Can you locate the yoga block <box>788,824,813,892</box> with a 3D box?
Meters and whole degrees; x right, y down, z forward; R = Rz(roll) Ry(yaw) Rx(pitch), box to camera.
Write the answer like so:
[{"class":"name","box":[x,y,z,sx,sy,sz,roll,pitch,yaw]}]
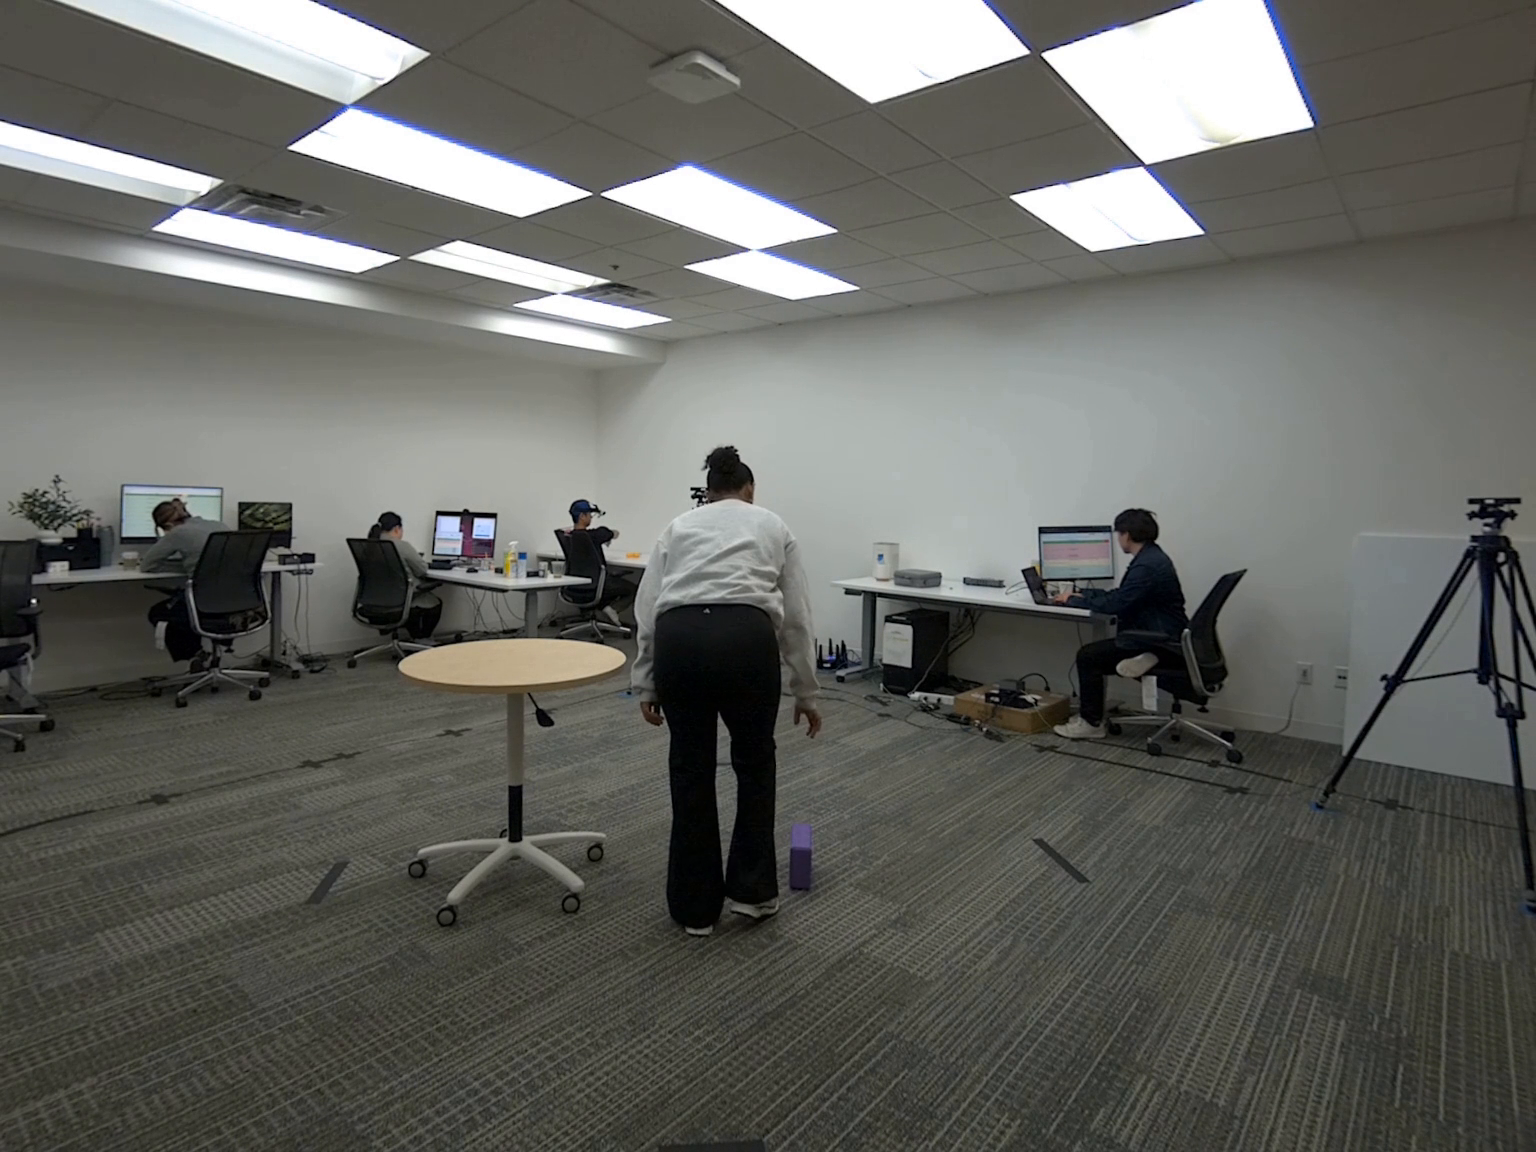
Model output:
[{"class":"yoga block","box":[0.114,1.003,3.066,0.077,0.148,0.228,4,4,4]}]
